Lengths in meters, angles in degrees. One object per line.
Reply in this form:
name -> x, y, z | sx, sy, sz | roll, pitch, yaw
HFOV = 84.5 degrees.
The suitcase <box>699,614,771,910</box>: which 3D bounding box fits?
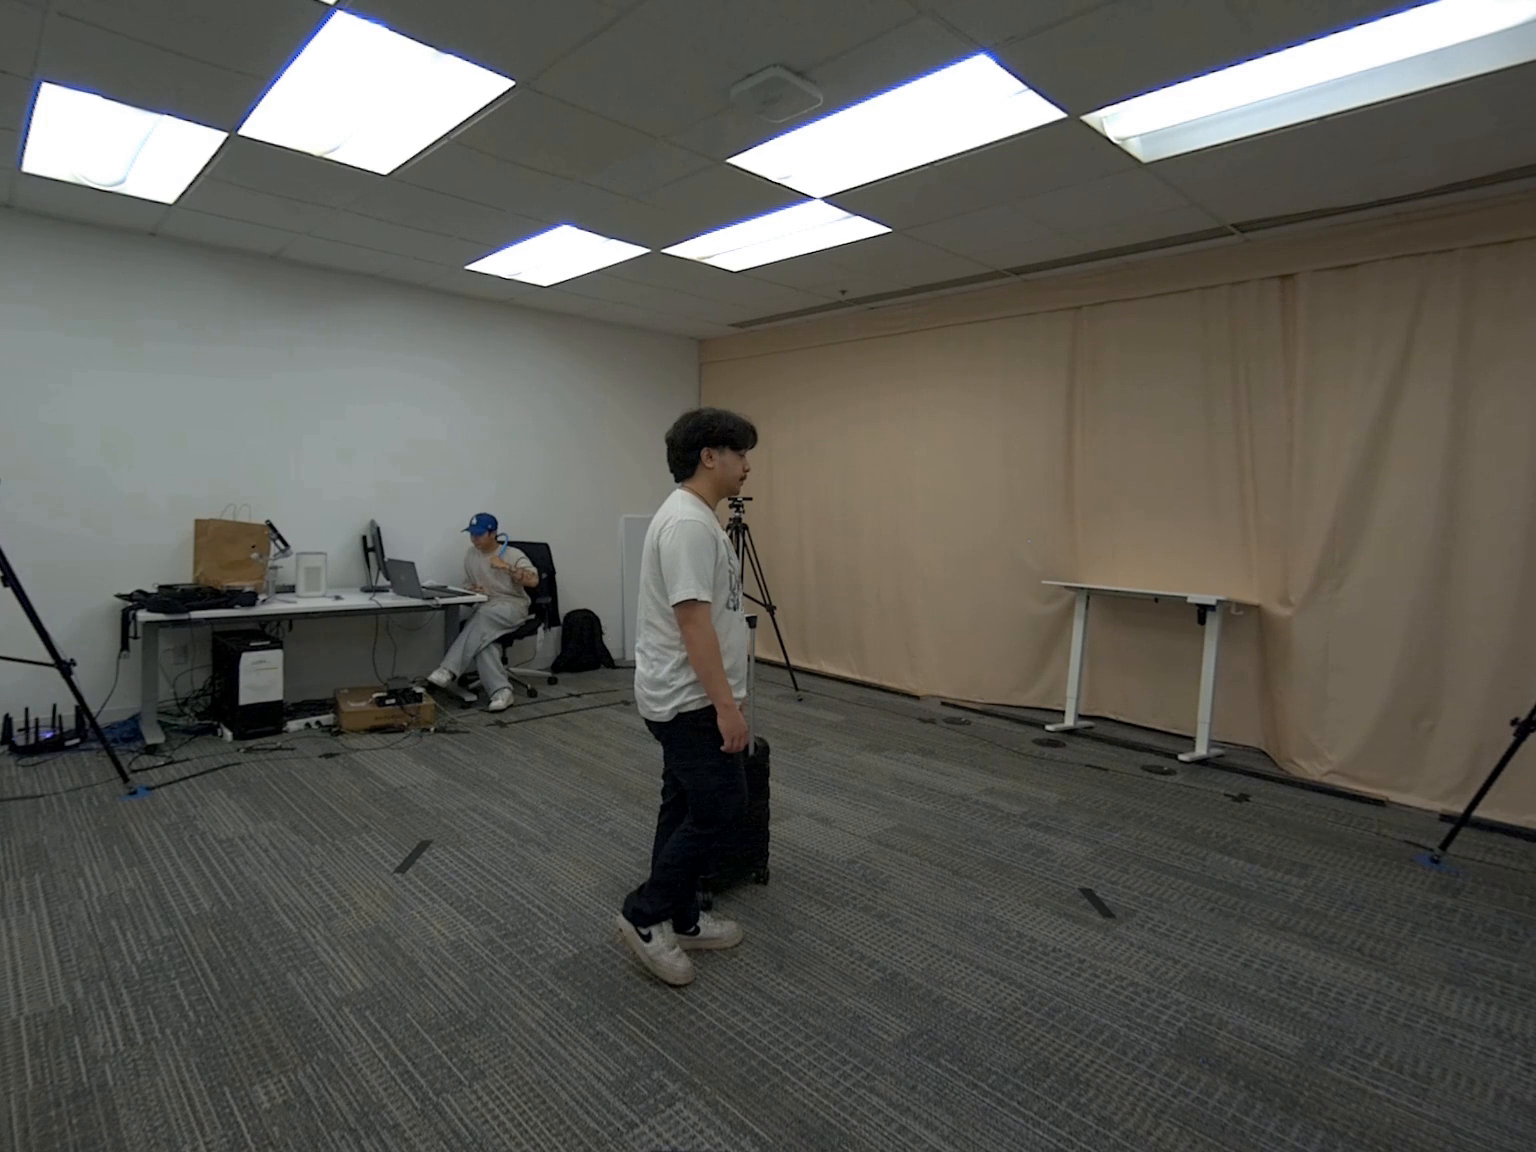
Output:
suitcase -> -0.195, 0.637, 3.034 | 0.375, 0.978, 0.263 | -1, 1, -45
